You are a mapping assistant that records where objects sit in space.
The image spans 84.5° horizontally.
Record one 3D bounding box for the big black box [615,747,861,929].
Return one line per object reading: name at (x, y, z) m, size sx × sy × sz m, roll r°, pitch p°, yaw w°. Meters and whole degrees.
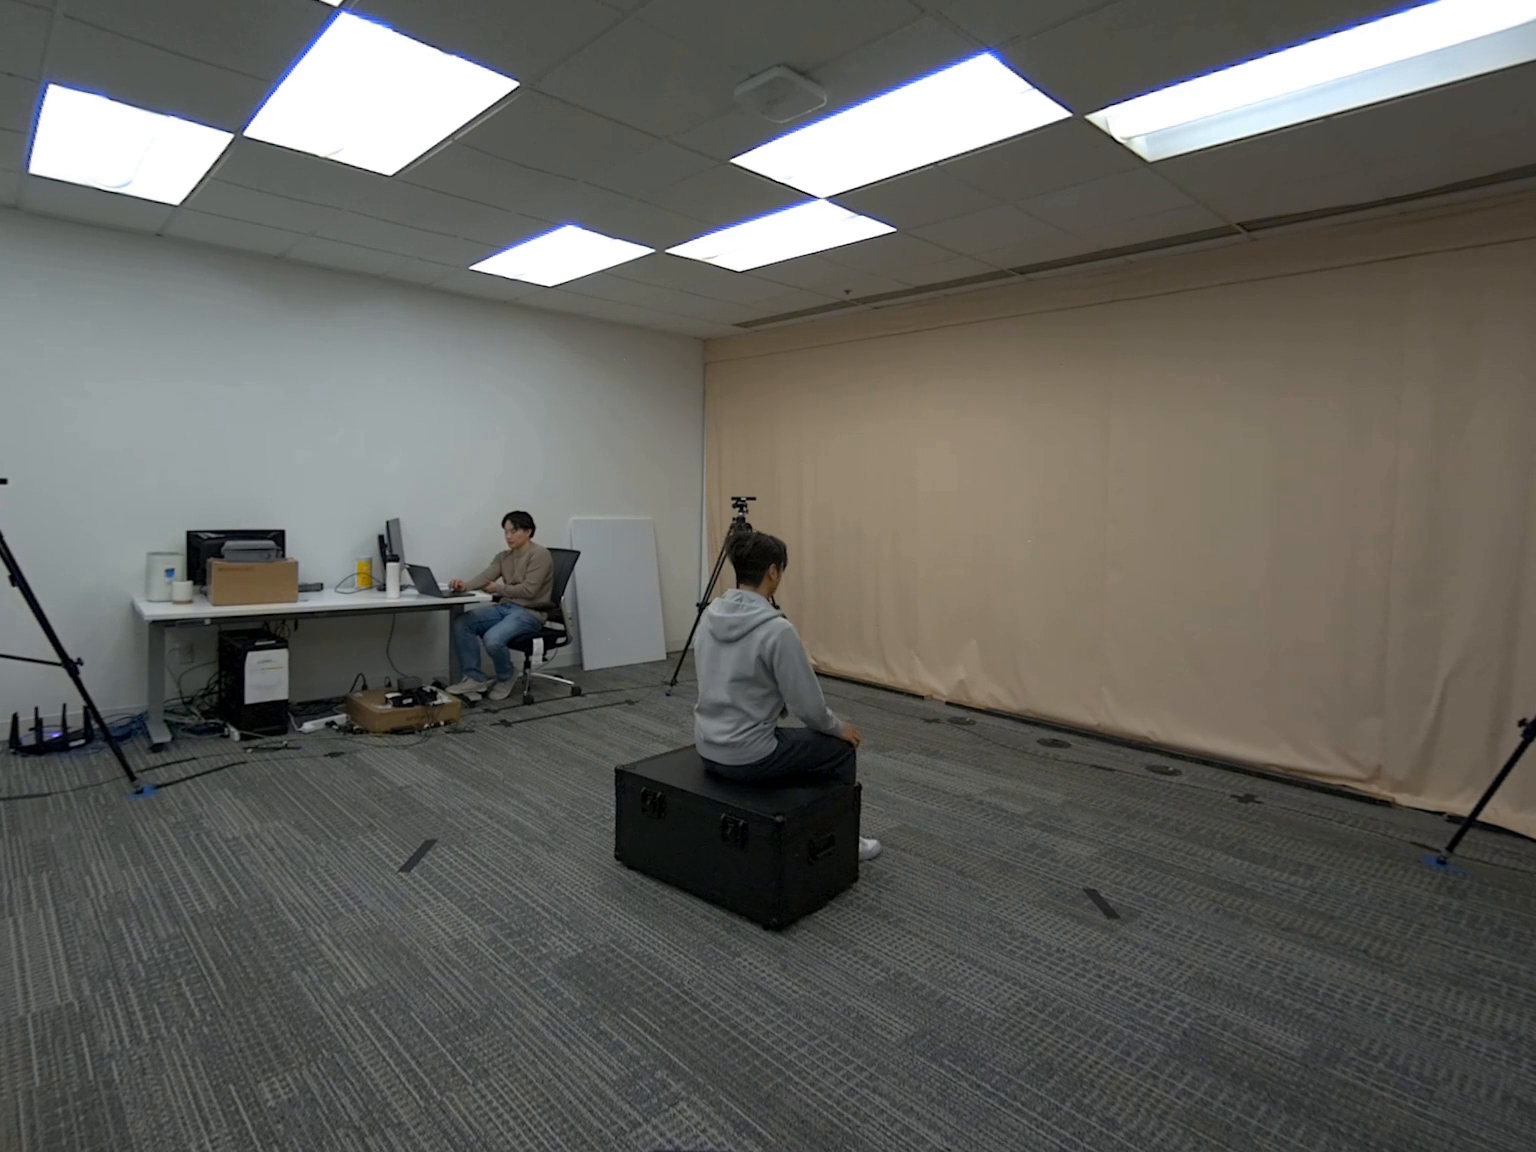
big black box at (-0.112, 0.927, 3.069) m, size 0.883 × 0.395 × 0.510 m, roll 5°, pitch 6°, yaw 40°
